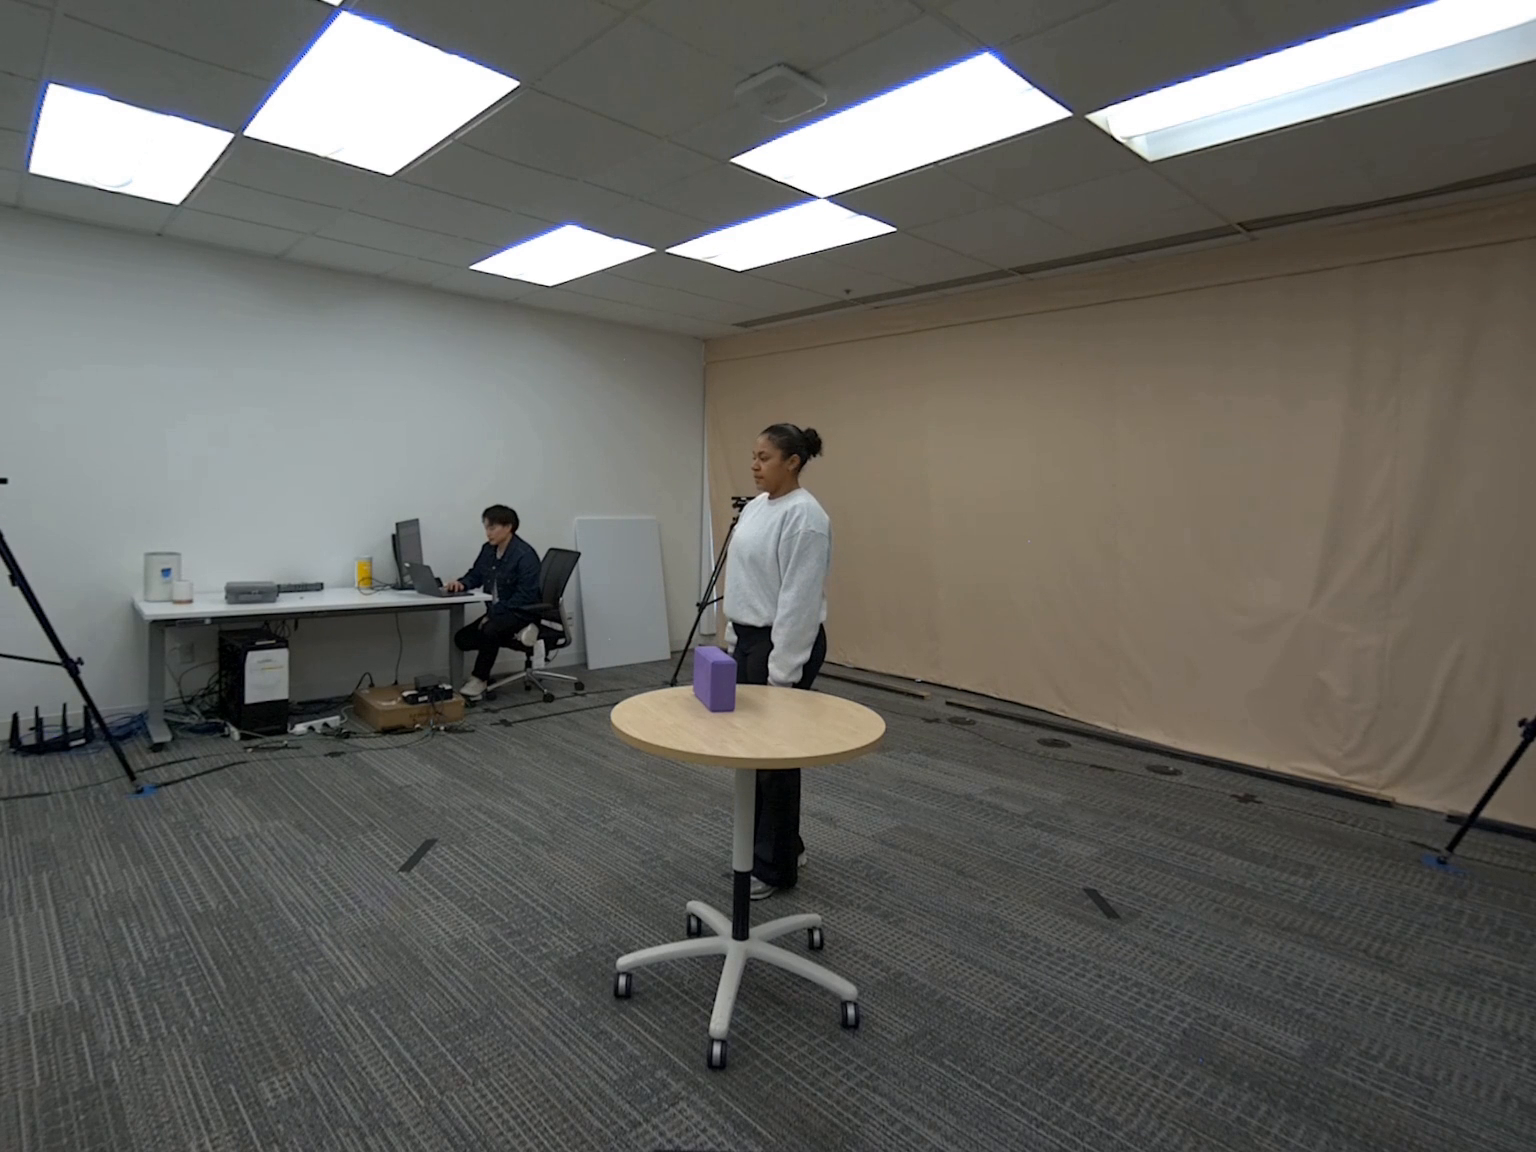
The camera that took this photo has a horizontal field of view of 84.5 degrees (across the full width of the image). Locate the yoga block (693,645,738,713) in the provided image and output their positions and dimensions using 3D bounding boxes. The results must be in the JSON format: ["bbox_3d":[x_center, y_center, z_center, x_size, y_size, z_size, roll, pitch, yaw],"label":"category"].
[{"bbox_3d":[-0.168,0.304,2.496,0.076,0.148,0.232,1,5,-12],"label":"yoga block"}]
